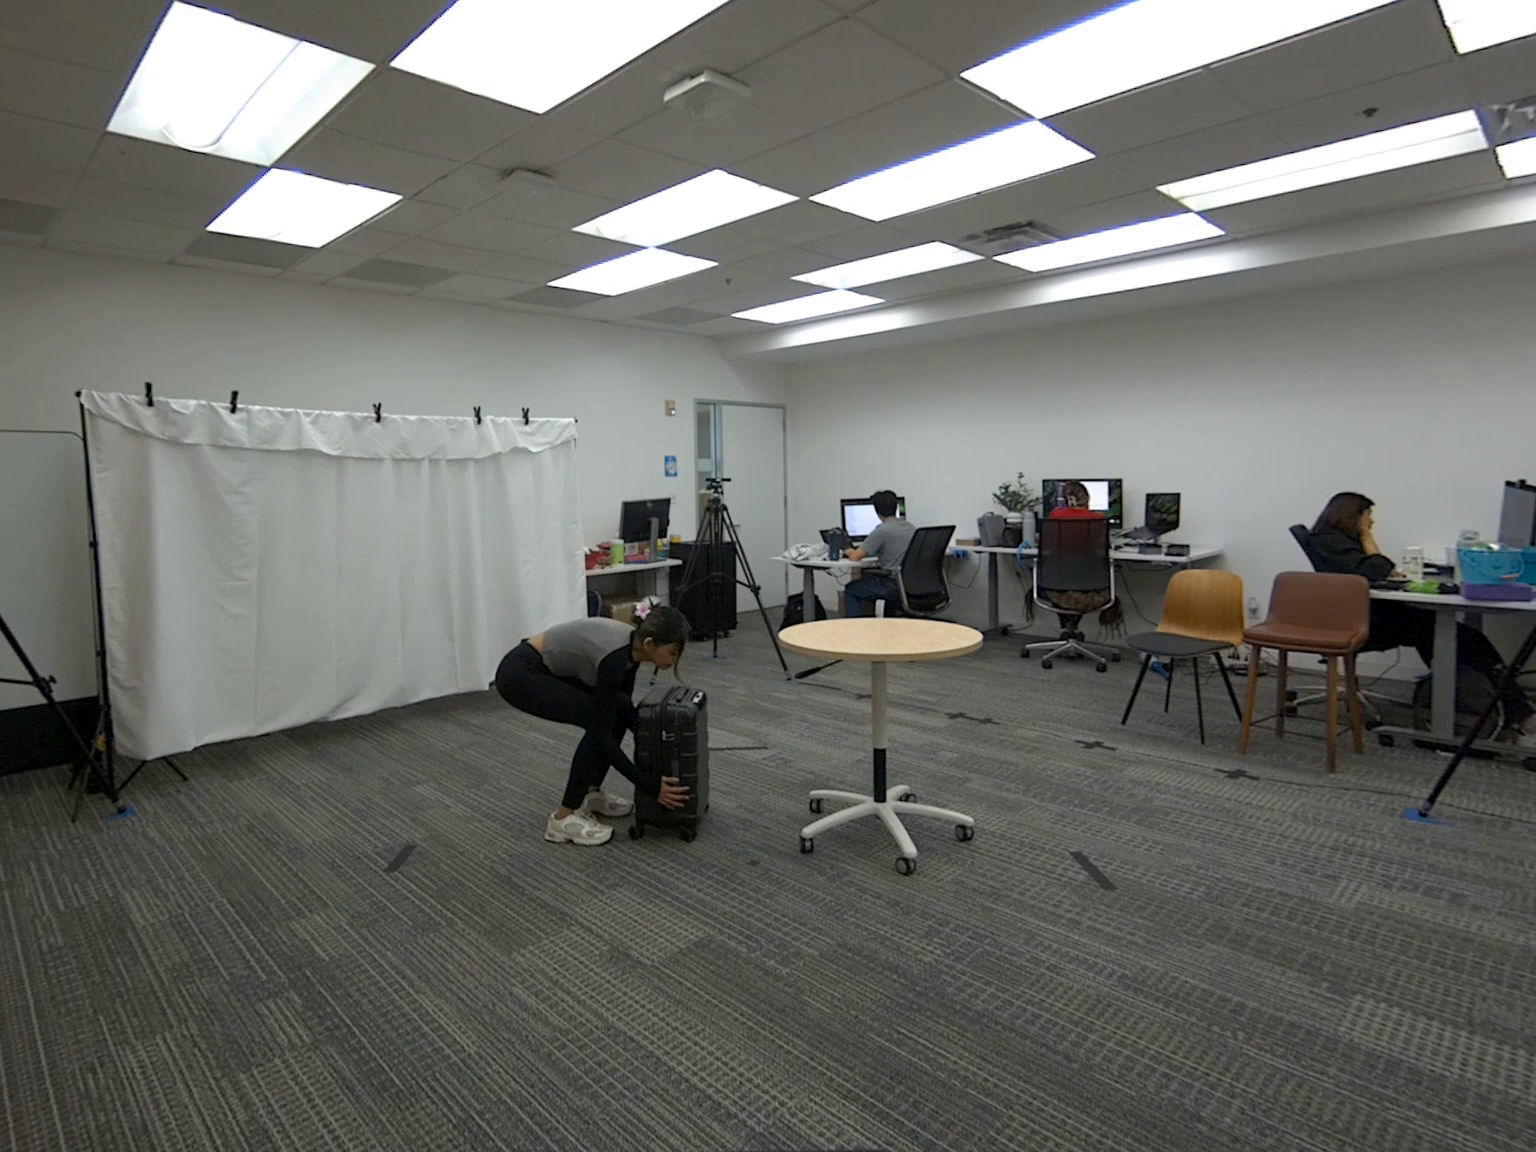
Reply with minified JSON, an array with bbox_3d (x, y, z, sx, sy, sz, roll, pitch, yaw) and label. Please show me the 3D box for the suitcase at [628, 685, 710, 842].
[{"bbox_3d":[-0.392,0.734,3.437,0.250,0.547,0.375,-2,5,6],"label":"suitcase"}]
